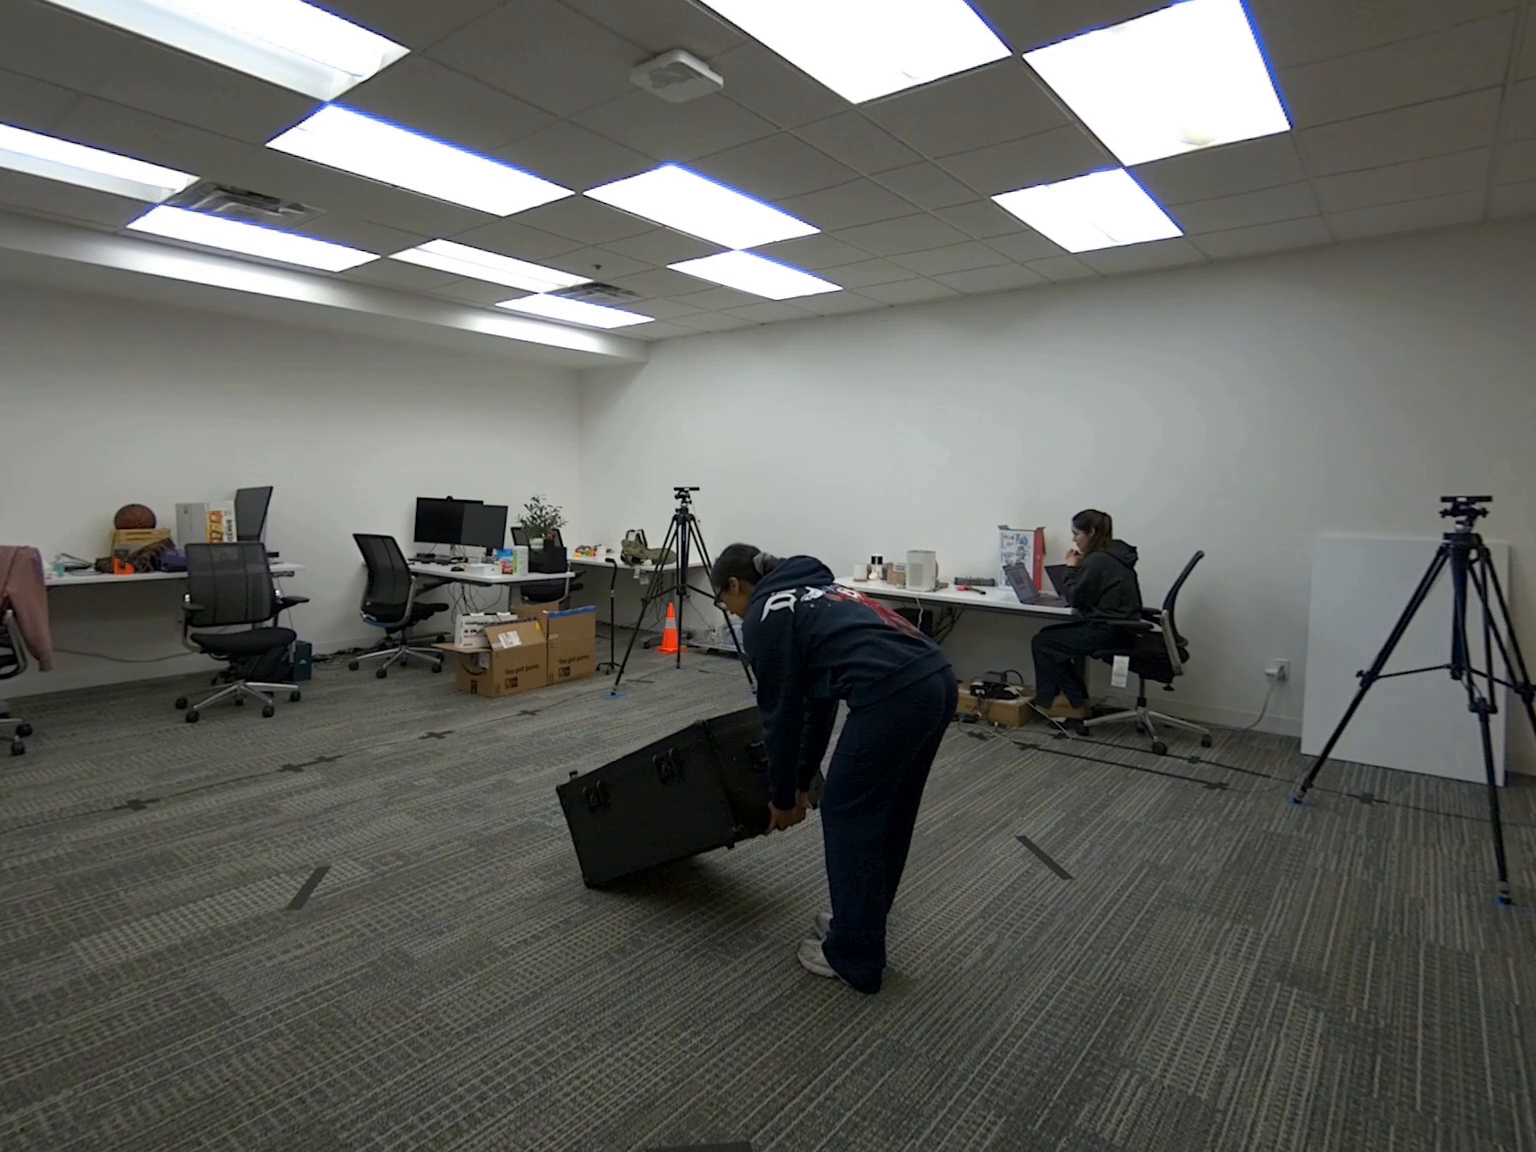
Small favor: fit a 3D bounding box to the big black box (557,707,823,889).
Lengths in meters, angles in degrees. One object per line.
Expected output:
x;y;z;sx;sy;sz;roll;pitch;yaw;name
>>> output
-0.303;0.761;2.960;0.872;0.403;0.506;-30;-15;36;big black box
